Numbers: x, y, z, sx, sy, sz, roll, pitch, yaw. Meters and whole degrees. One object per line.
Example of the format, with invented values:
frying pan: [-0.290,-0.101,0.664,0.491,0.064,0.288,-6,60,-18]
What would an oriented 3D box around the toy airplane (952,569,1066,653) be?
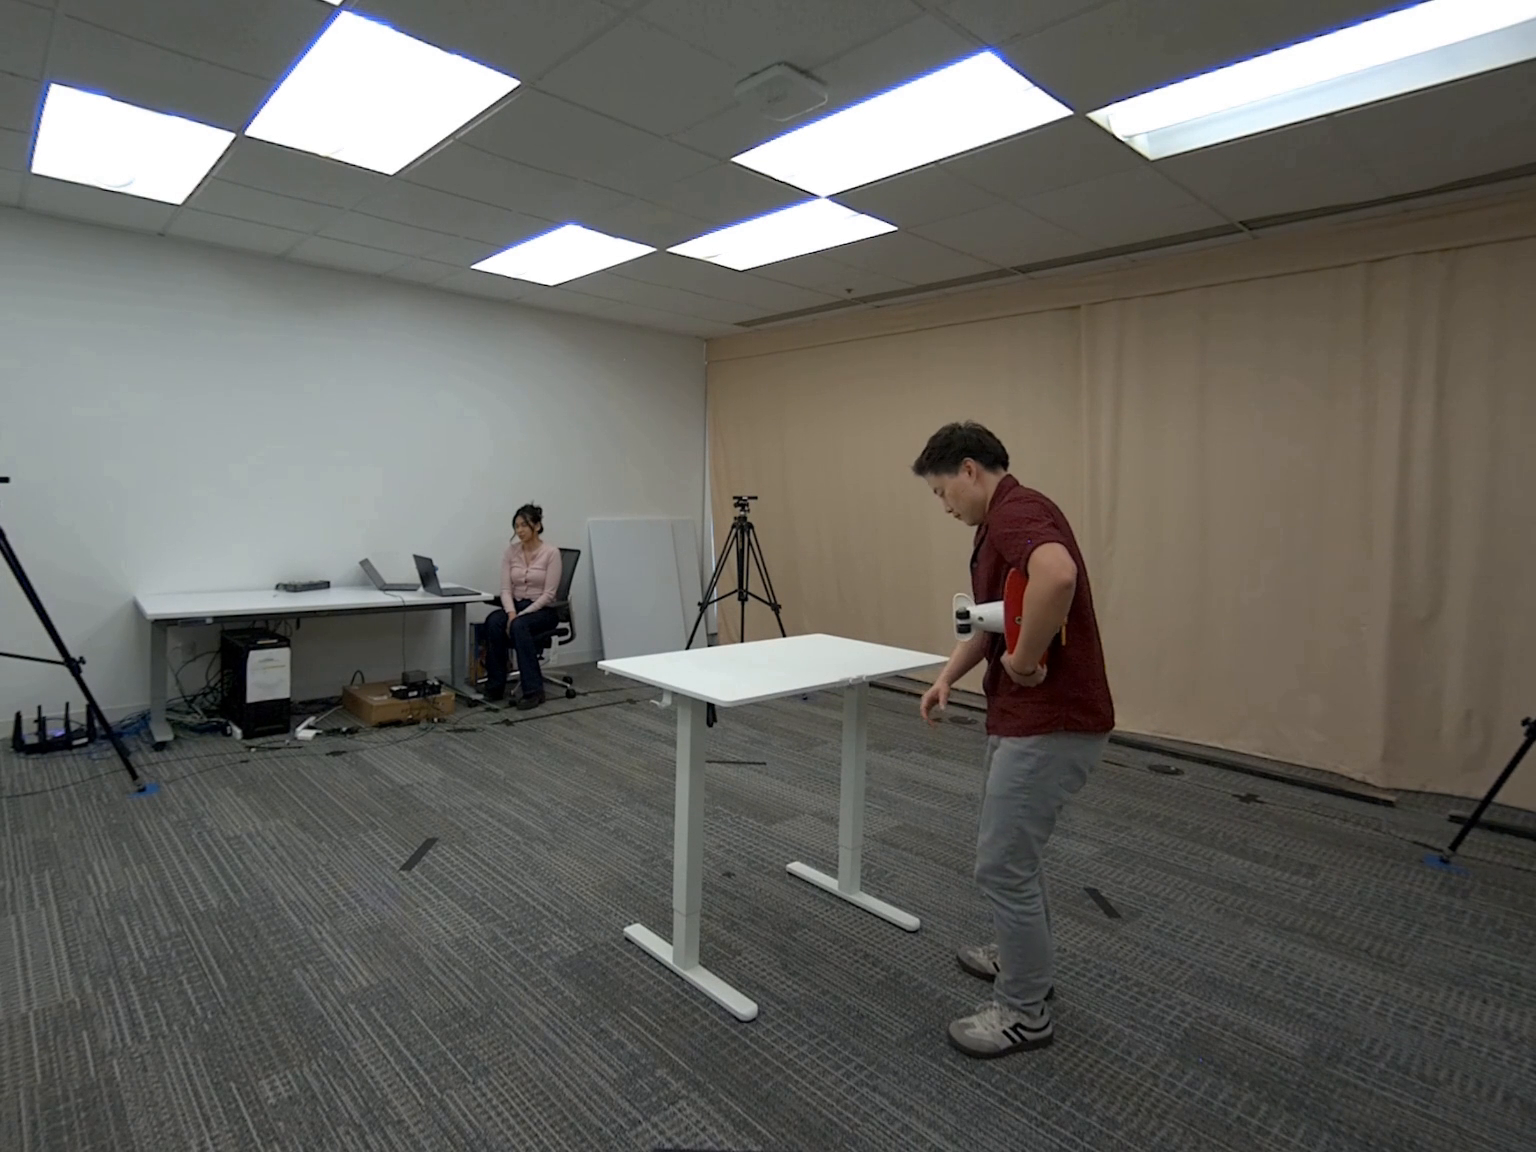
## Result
toy airplane: [0.575,0.093,2.026,0.267,0.249,0.153,28,19,33]
